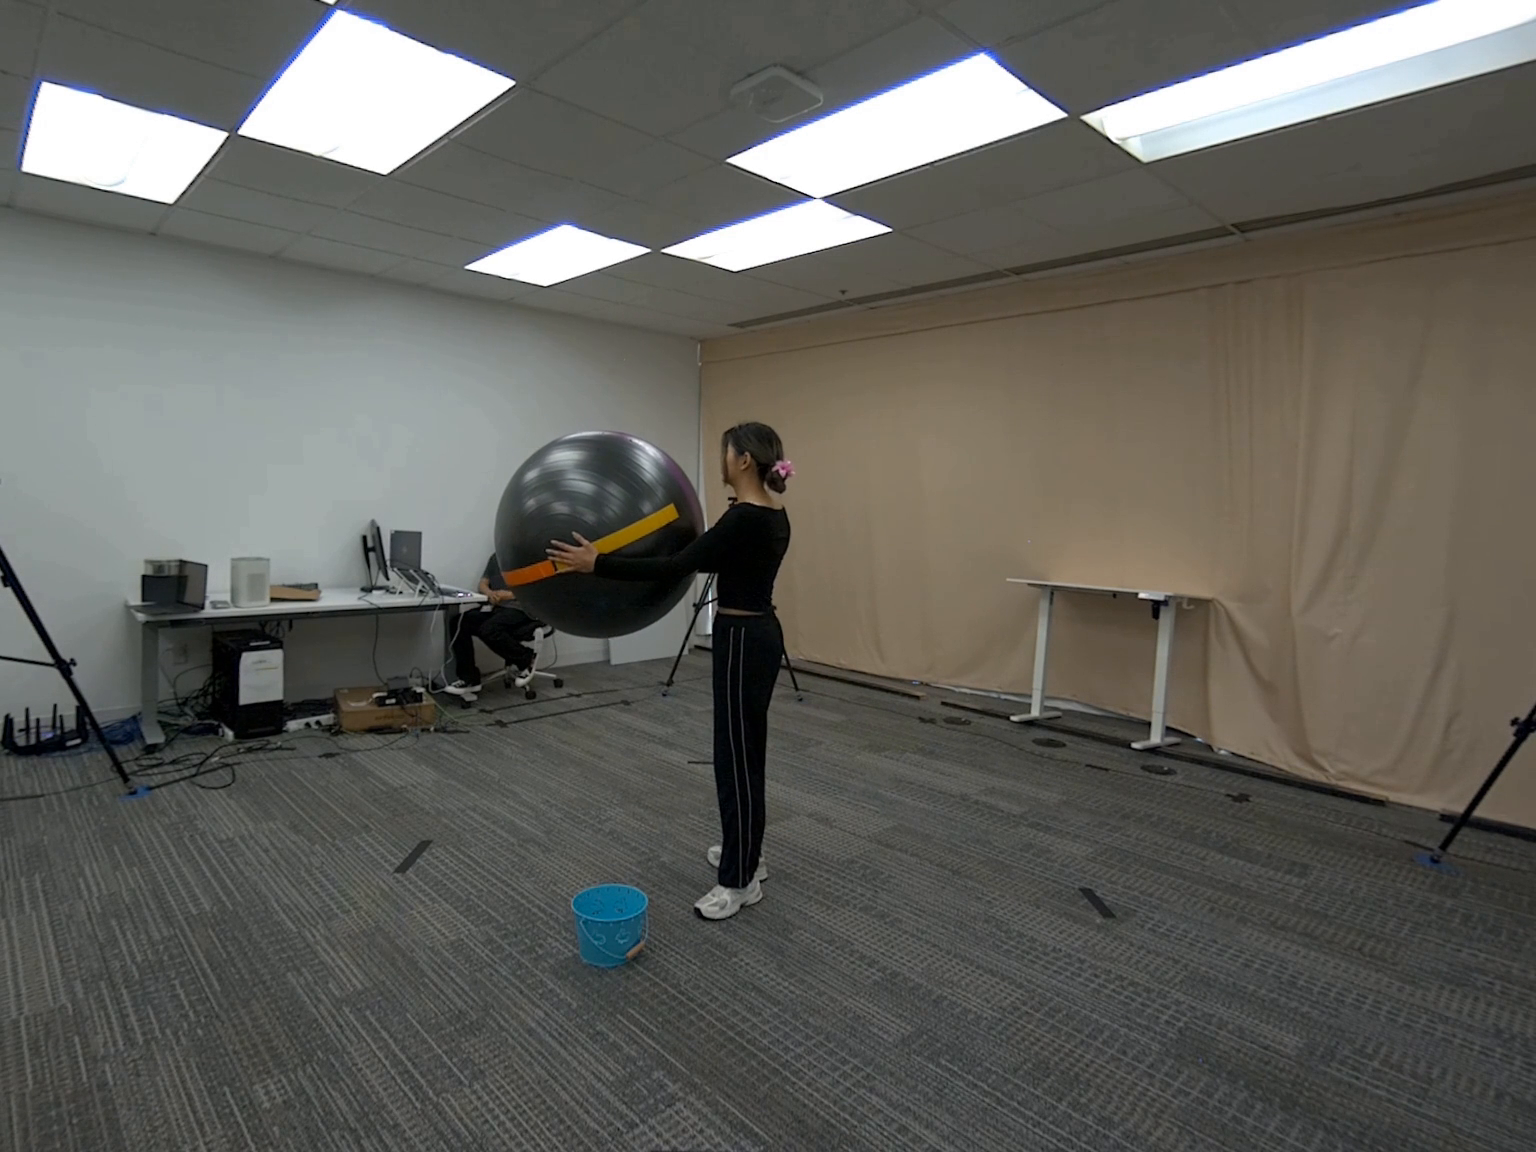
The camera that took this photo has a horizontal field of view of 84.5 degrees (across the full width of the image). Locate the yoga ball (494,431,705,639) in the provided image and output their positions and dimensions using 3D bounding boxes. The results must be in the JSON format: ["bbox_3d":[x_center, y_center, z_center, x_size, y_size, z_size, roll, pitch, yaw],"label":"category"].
[{"bbox_3d":[-0.622,-0.145,3.090,0.757,0.756,0.761,1,4,-1],"label":"yoga ball"}]
